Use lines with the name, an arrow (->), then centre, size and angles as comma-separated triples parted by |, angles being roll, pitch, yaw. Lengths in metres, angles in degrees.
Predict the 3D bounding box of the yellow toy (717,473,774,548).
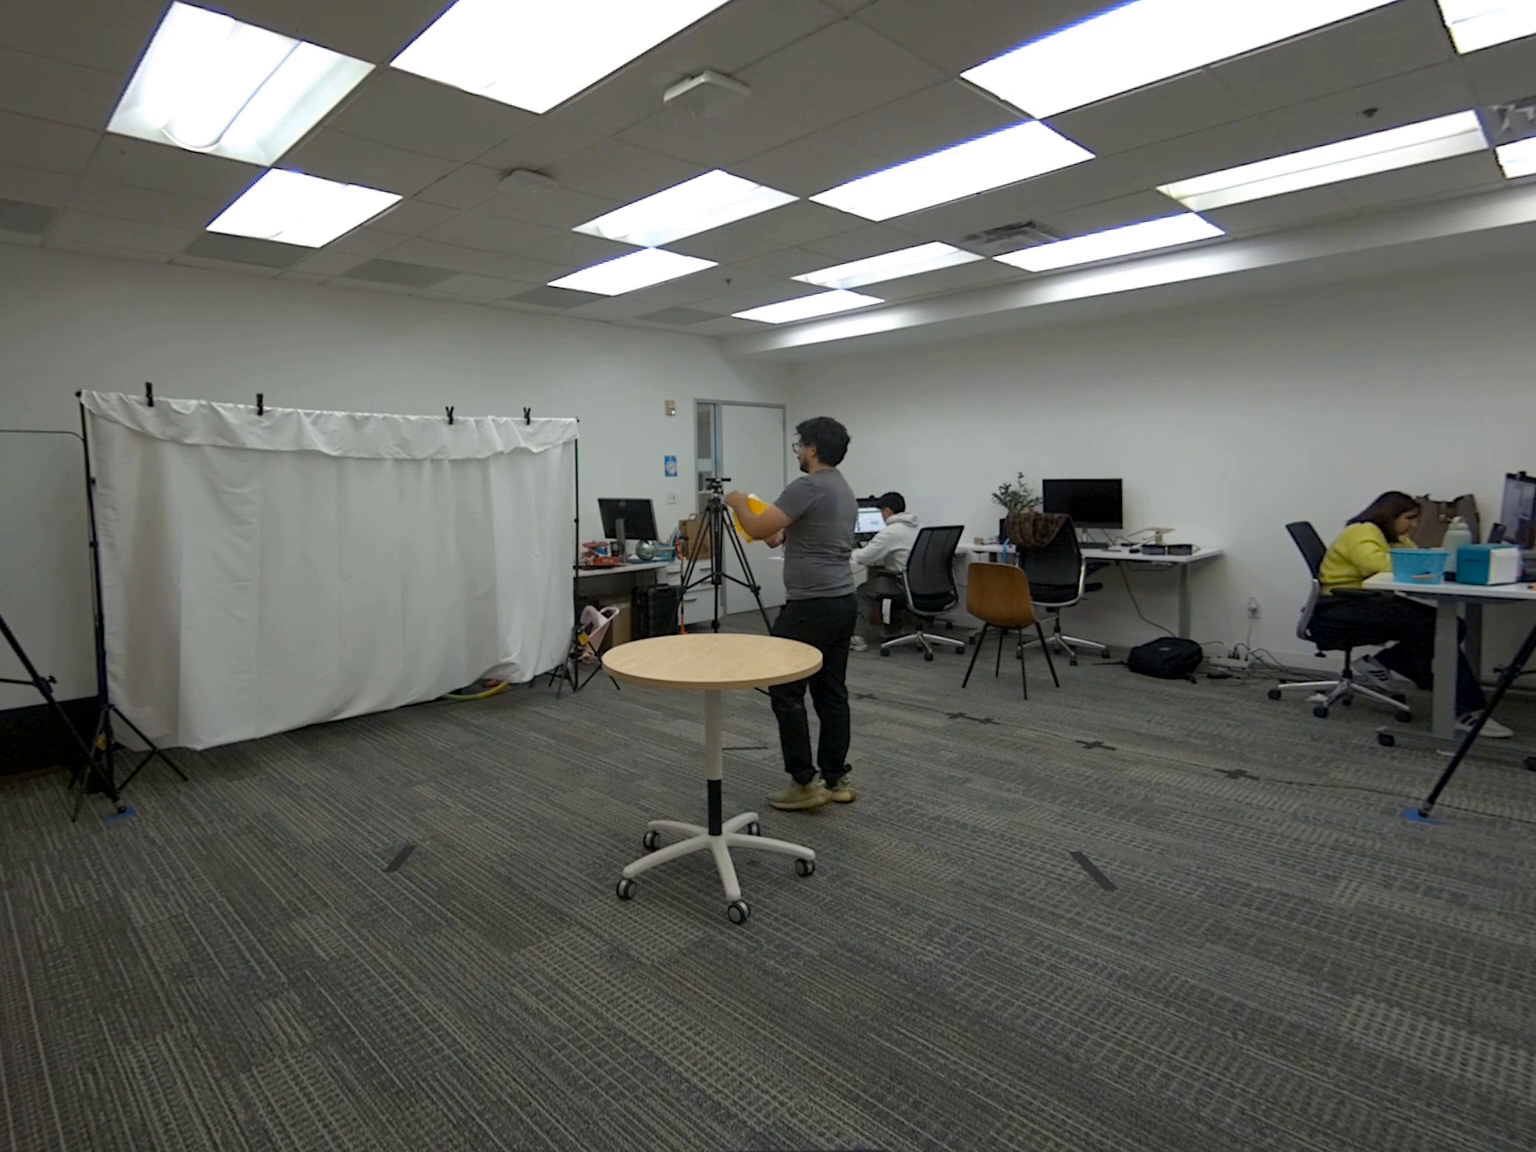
yellow toy -> -0.083, -0.307, 3.966 | 0.205, 0.227, 0.196 | -37, 14, 7
